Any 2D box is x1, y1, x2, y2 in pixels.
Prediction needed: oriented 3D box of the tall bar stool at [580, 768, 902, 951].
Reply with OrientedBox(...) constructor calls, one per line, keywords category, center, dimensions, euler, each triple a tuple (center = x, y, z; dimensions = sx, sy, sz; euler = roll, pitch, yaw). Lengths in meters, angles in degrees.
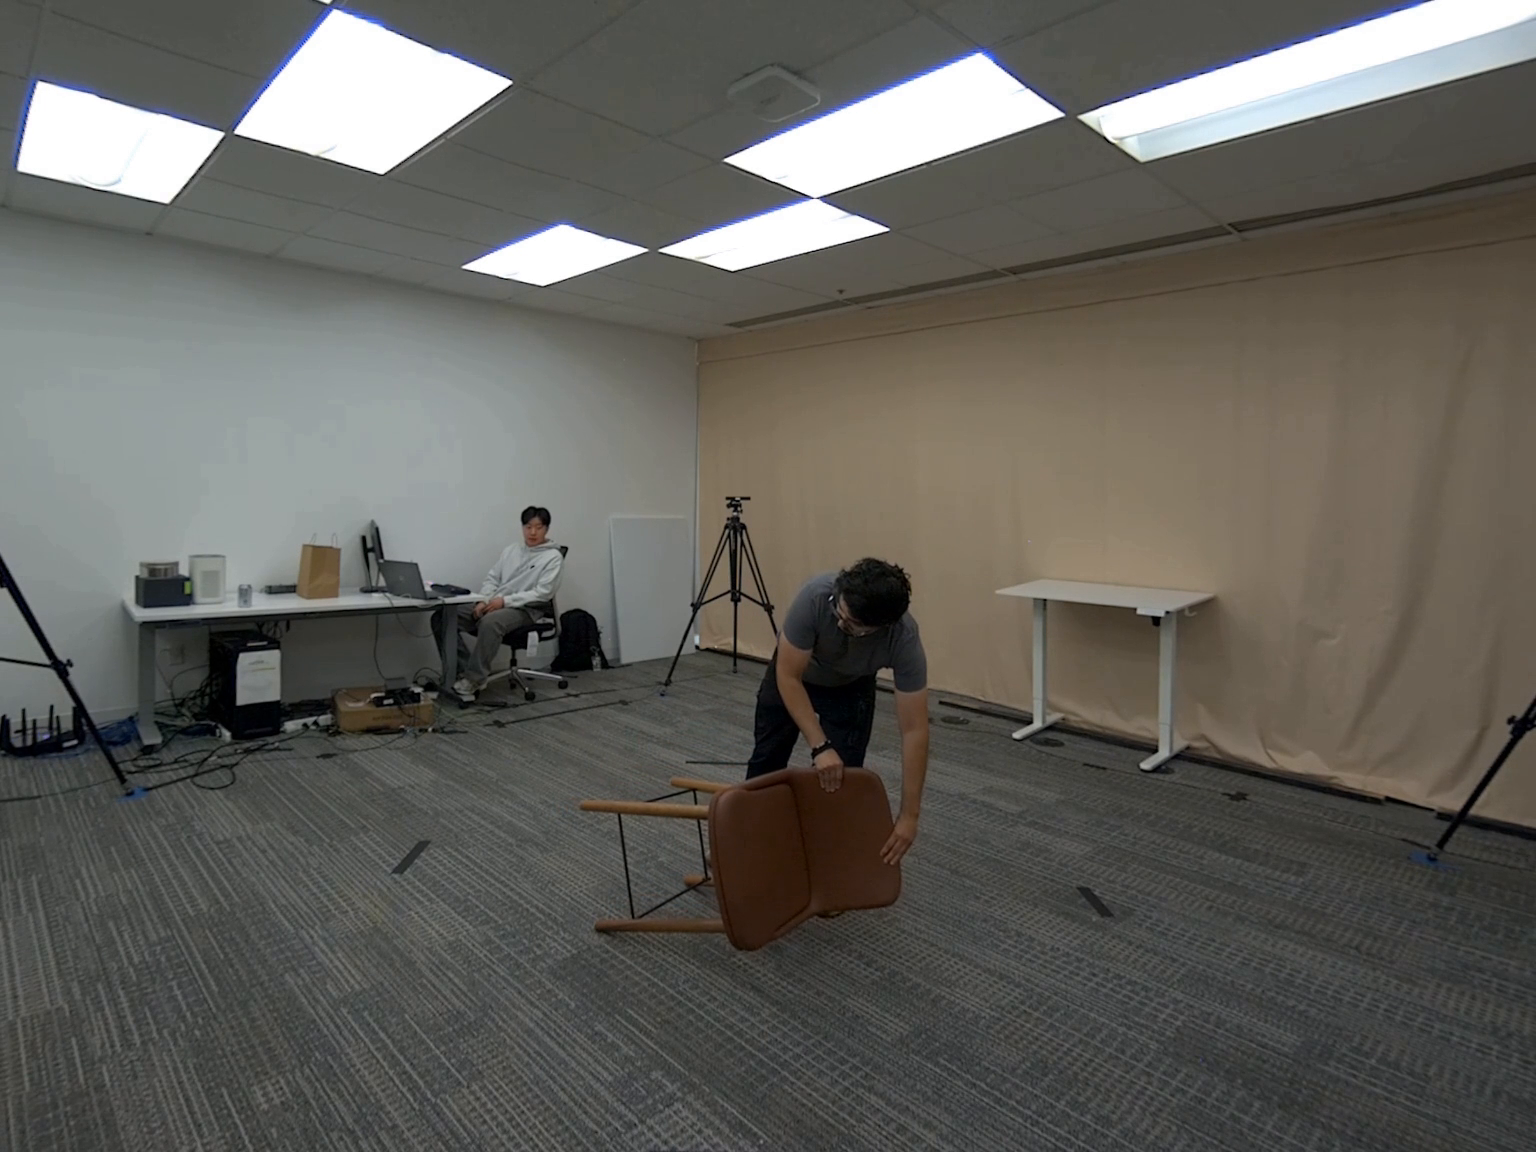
OrientedBox(category="tall bar stool", center=(-0.108, 0.860, 2.613), dimensions=(0.905, 0.459, 0.457), euler=(-12, -7, 36))
